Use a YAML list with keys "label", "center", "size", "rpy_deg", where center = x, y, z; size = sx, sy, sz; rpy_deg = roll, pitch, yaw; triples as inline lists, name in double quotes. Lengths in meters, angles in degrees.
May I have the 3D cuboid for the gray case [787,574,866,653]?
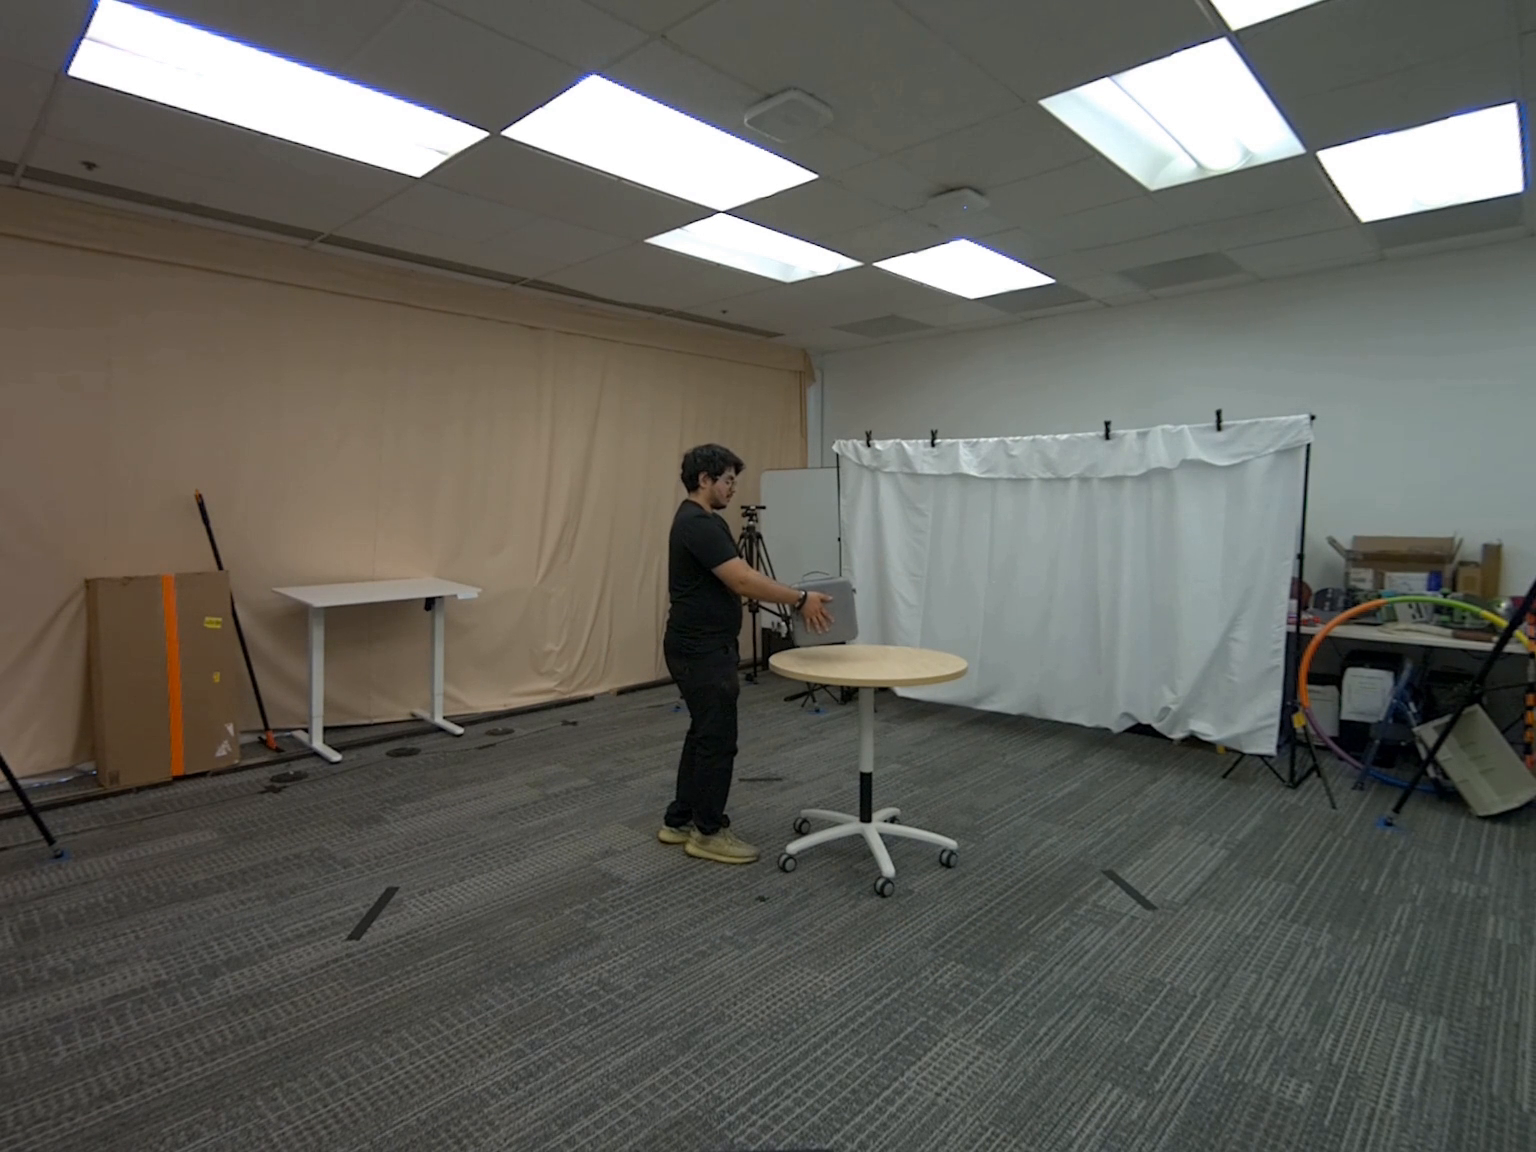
- label: "gray case"
  center: [0.226, 0.142, 3.335]
  size: [0.257, 0.260, 0.104]
  rpy_deg: [-9, 2, 1]
